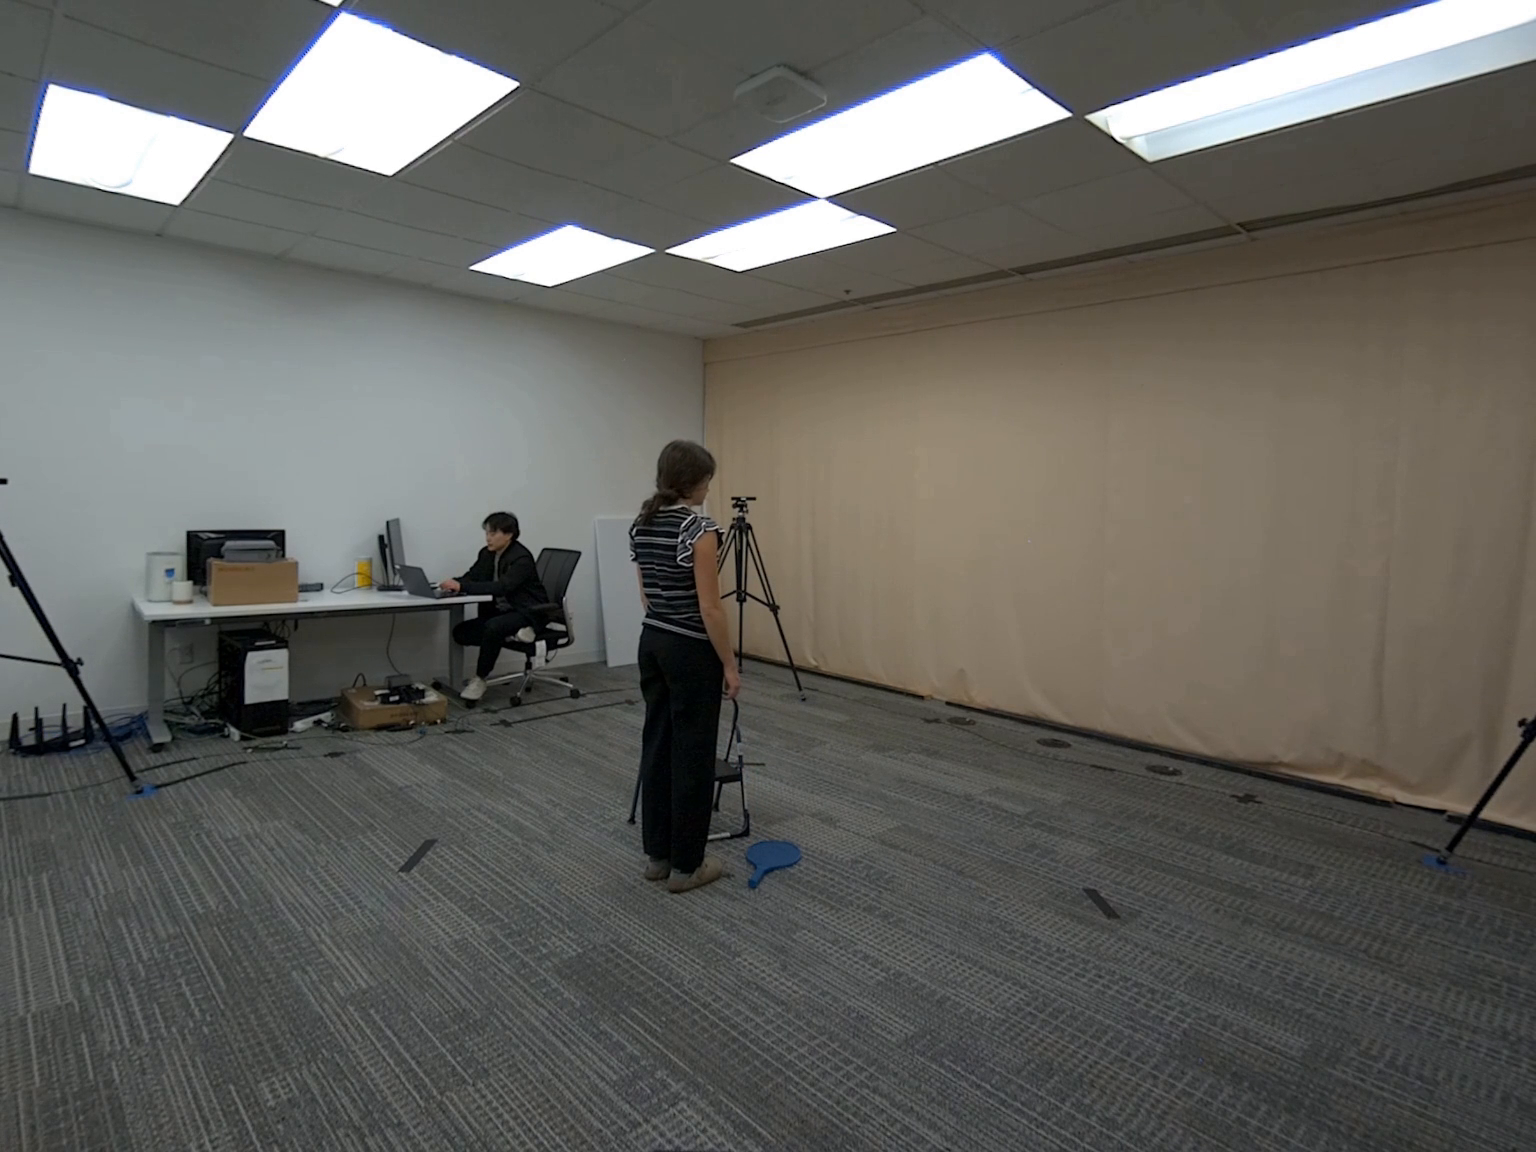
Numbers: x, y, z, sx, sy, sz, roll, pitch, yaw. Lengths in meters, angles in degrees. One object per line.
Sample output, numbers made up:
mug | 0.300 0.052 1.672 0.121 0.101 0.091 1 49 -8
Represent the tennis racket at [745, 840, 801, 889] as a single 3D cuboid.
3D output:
tennis racket | -0.016 1.082 3.209 0.216 0.032 0.428 2 3 16
